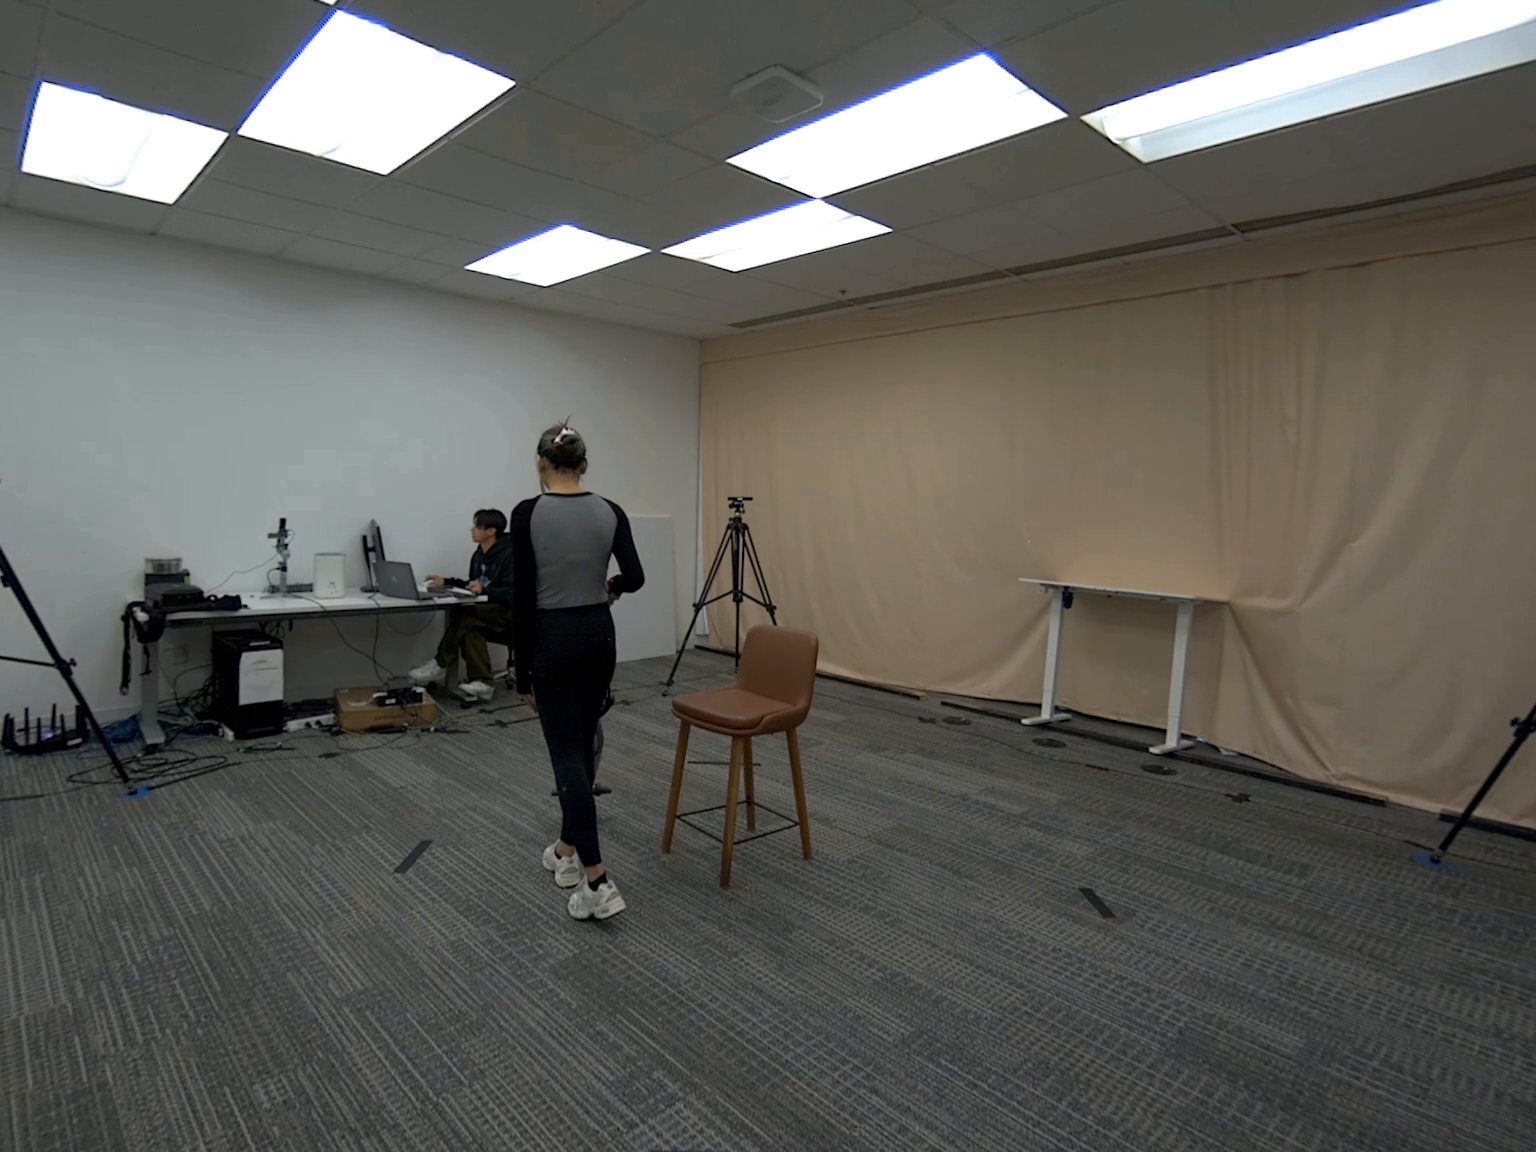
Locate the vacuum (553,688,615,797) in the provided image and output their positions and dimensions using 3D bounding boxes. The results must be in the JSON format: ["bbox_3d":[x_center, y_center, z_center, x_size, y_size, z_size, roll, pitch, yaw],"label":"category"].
[{"bbox_3d":[-0.678,0.469,3.325,0.247,1.037,0.149,-3,32,-33],"label":"vacuum"}]
